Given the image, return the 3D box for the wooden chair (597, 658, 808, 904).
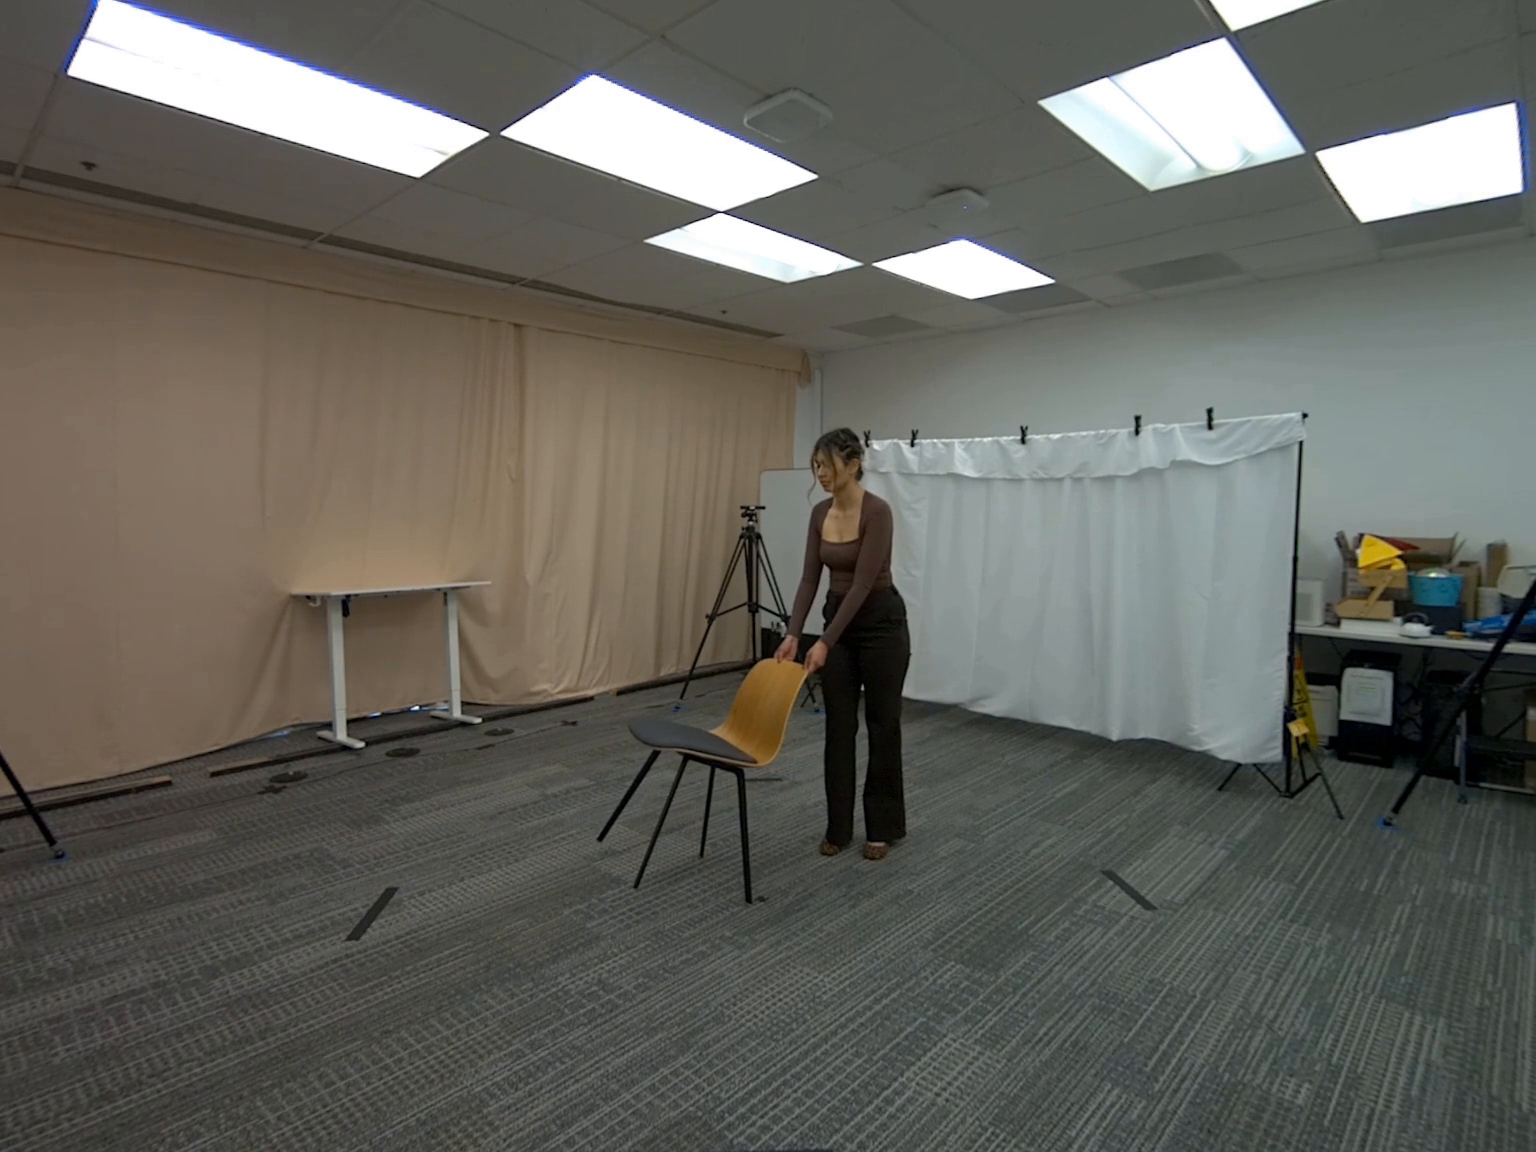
[{"bbox_3d":[-0.239,0.661,3.079,0.509,0.878,0.491,22,-6,-25],"label":"wooden chair"}]
